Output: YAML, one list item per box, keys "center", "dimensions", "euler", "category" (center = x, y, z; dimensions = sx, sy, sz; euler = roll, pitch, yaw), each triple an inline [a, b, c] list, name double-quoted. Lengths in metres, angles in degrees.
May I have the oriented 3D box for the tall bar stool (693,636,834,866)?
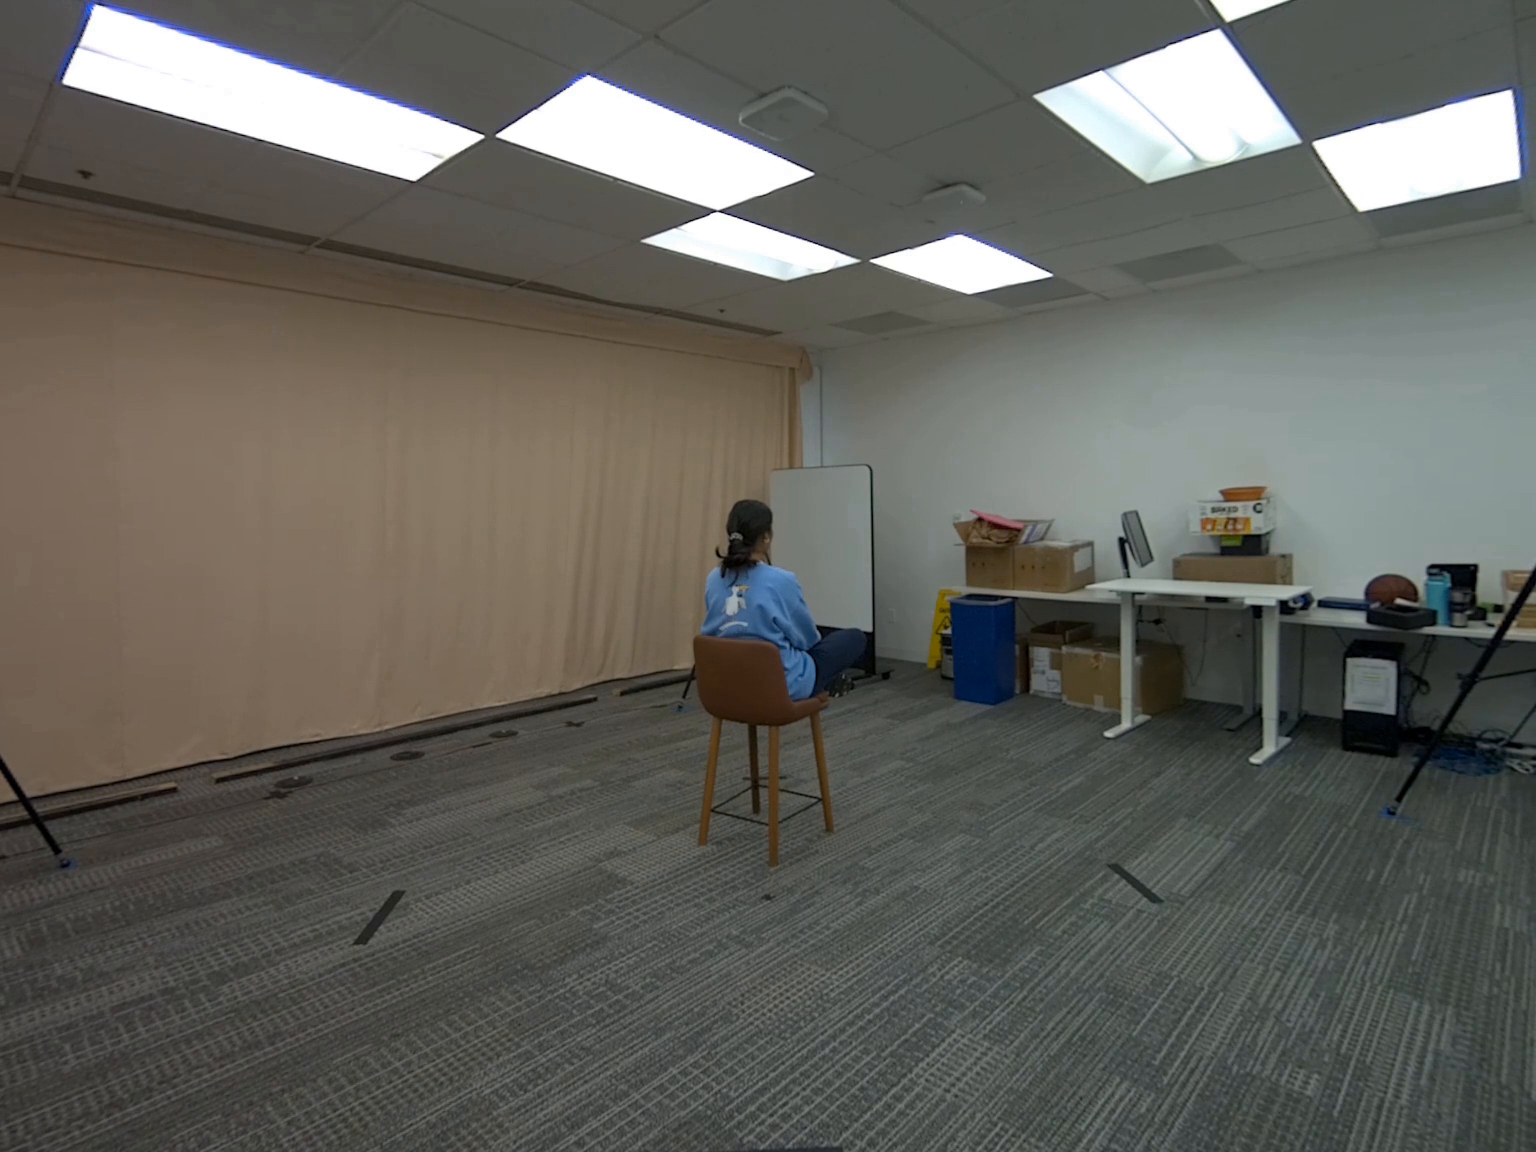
- center: [-0.021, 0.661, 3.497]
  dimensions: [0.471, 0.887, 0.454]
  euler: [1, 5, 35]
  category: "tall bar stool"
